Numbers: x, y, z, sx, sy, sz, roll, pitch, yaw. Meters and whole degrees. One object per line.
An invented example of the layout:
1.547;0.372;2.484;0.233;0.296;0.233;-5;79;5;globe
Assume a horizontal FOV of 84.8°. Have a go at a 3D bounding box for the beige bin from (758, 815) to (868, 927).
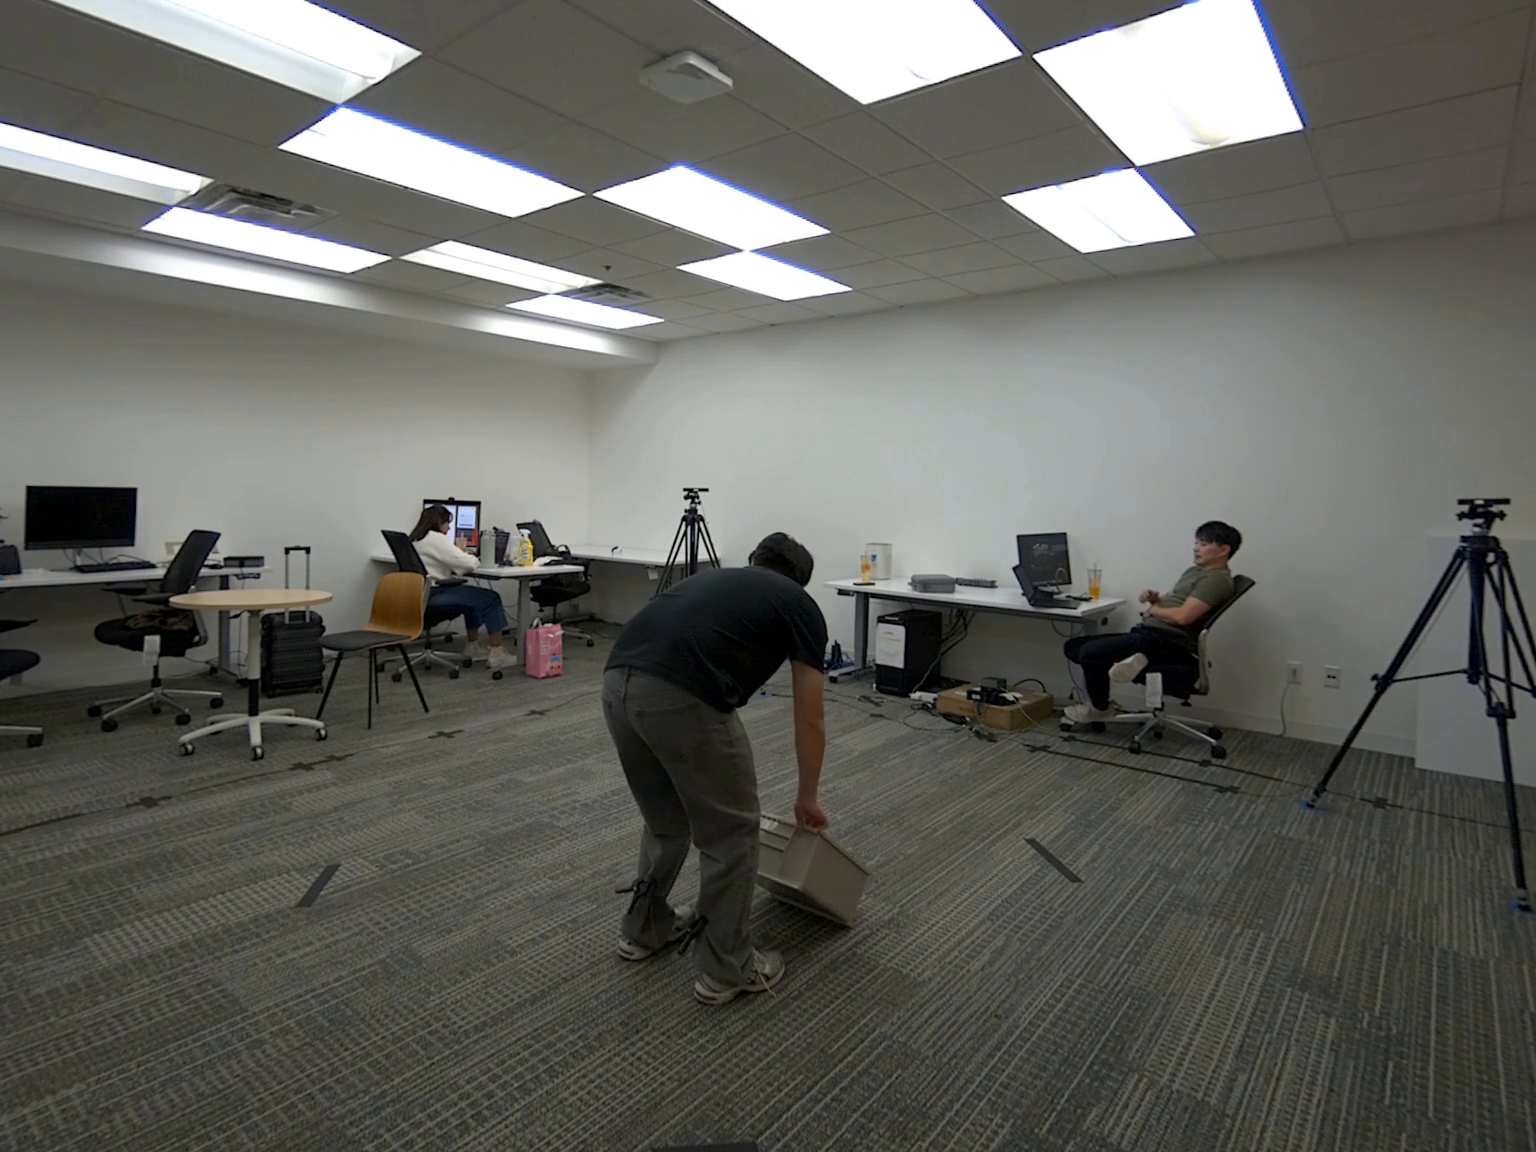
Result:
0.055;0.913;2.725;0.390;0.190;0.405;6;-31;38;beige bin
